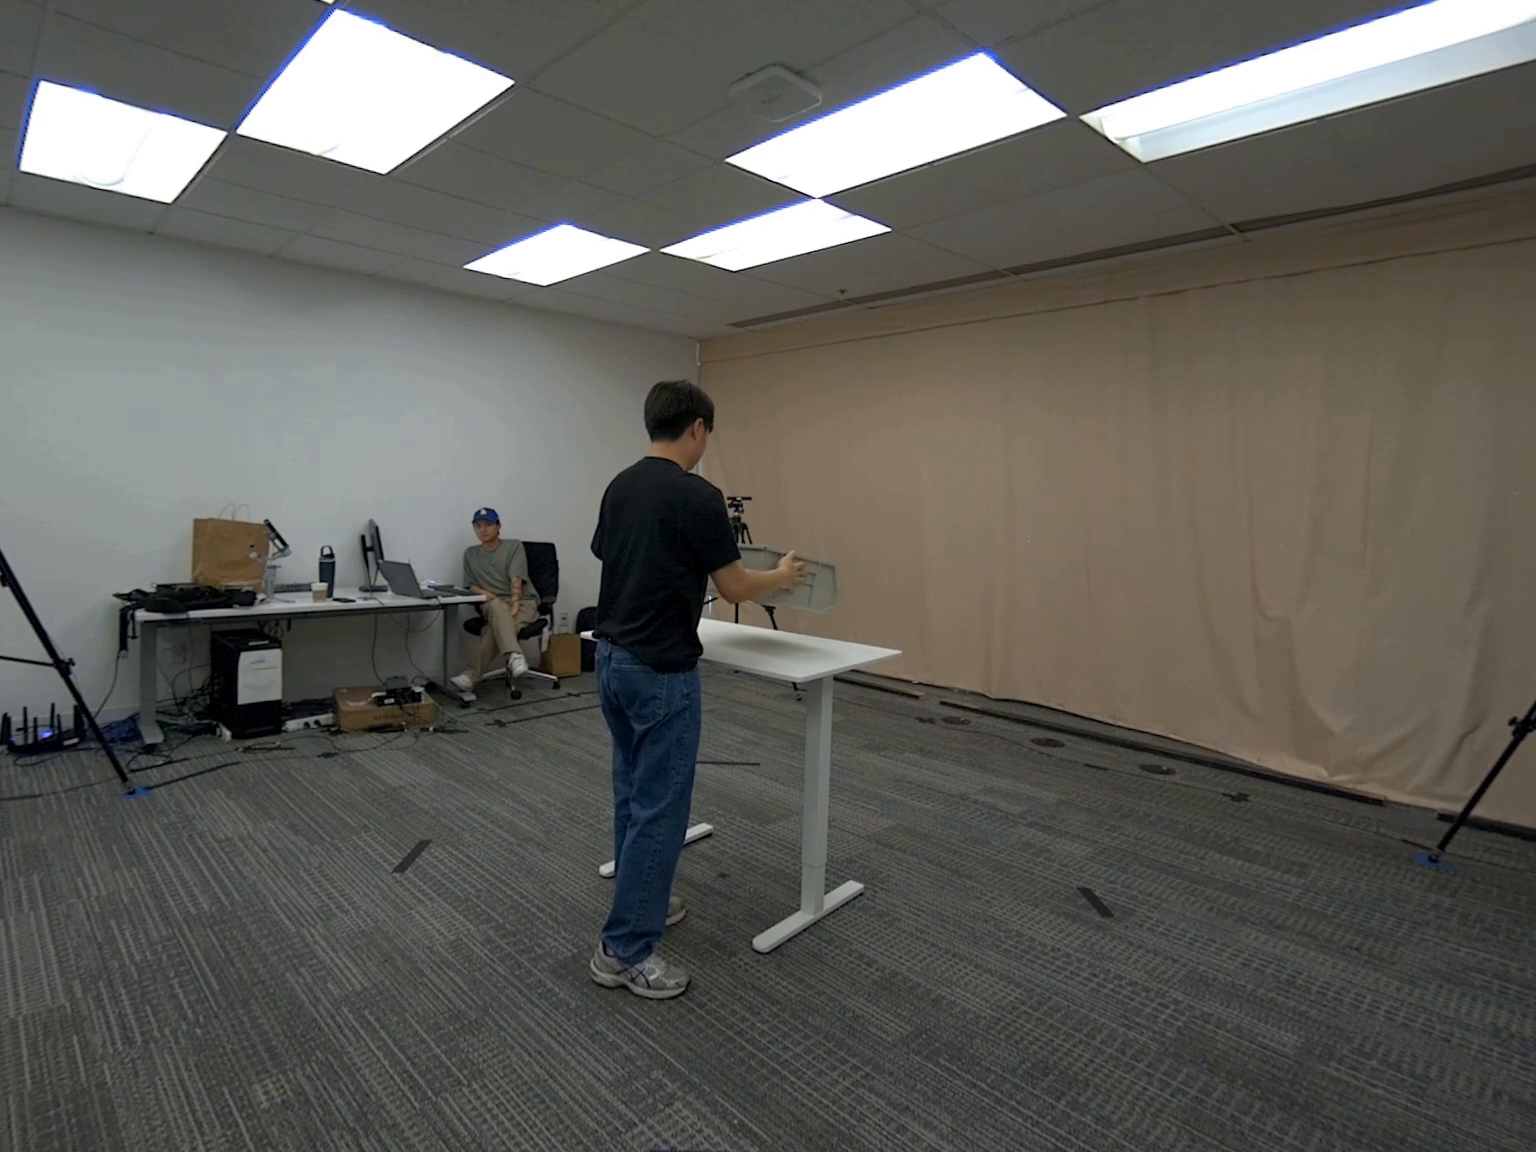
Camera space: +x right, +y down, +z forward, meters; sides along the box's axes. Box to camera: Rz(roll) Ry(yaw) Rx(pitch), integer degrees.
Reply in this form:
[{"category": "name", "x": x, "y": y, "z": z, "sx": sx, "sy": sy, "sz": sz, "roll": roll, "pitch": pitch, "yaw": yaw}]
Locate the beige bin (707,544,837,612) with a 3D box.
[{"category": "beige bin", "x": -0.030, "y": 0.011, "z": 2.929, "sx": 0.367, "sy": 0.189, "sz": 0.433, "roll": 13, "pitch": -4, "yaw": -41}]
